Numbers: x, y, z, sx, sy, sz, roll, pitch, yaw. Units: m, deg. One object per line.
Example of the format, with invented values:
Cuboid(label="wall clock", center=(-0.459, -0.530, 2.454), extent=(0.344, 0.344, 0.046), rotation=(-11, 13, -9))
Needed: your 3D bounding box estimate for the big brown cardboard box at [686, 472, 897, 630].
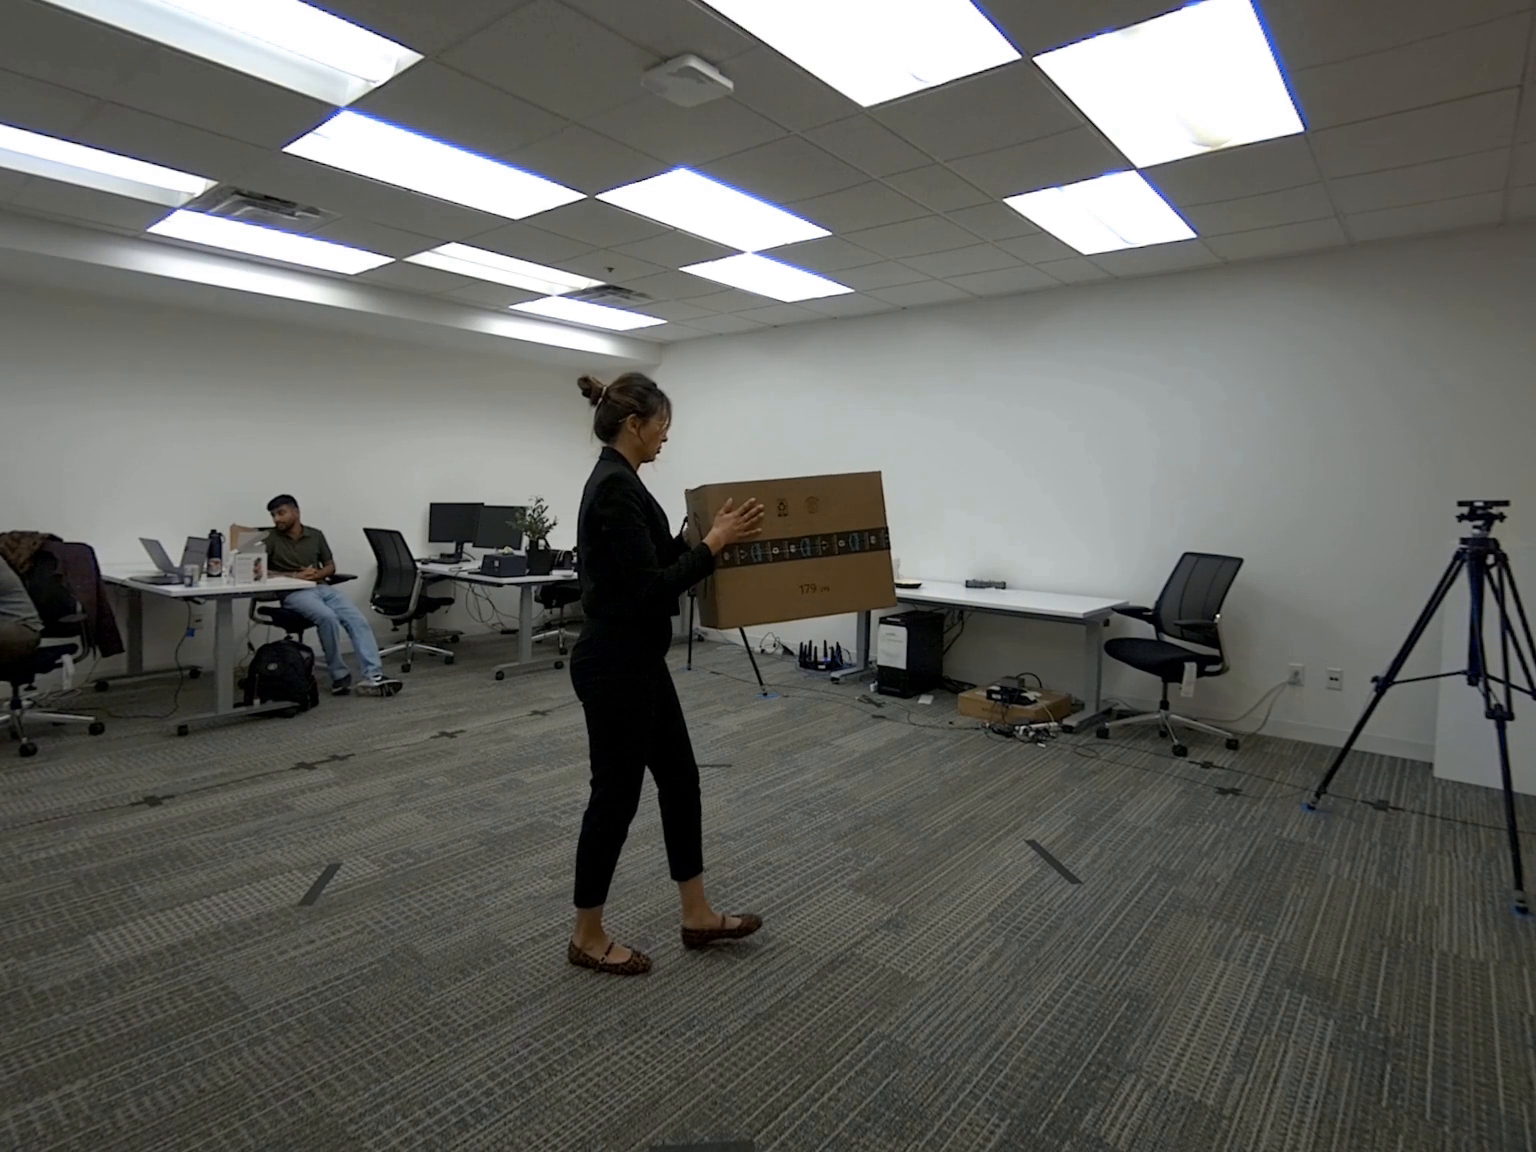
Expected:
Cuboid(label="big brown cardboard box", center=(0.067, -0.088, 2.572), extent=(0.579, 0.418, 0.237), rotation=(-5, -1, -18))
